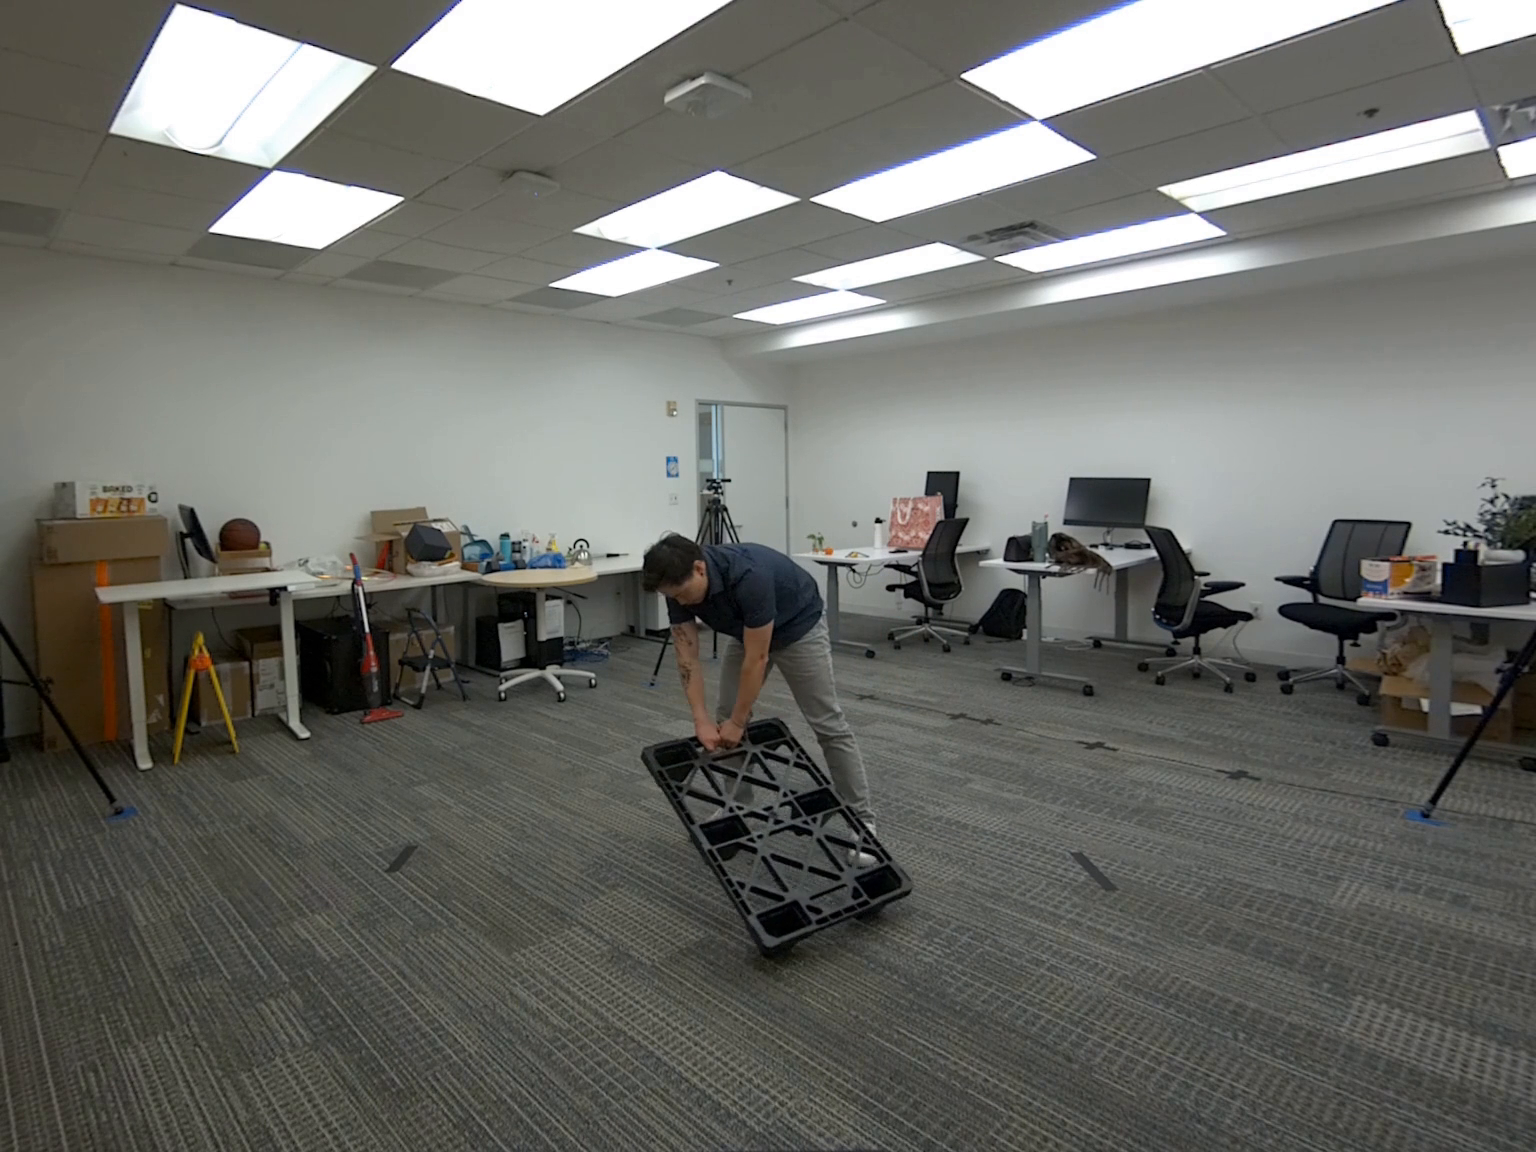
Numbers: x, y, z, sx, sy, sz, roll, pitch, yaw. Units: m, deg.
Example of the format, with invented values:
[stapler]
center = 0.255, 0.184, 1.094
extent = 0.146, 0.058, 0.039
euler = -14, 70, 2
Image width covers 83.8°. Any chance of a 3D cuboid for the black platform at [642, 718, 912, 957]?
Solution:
[black platform]
center = -0.001, 0.837, 2.842
extent = 0.590, 0.141, 0.838
euler = -6, 37, -35
